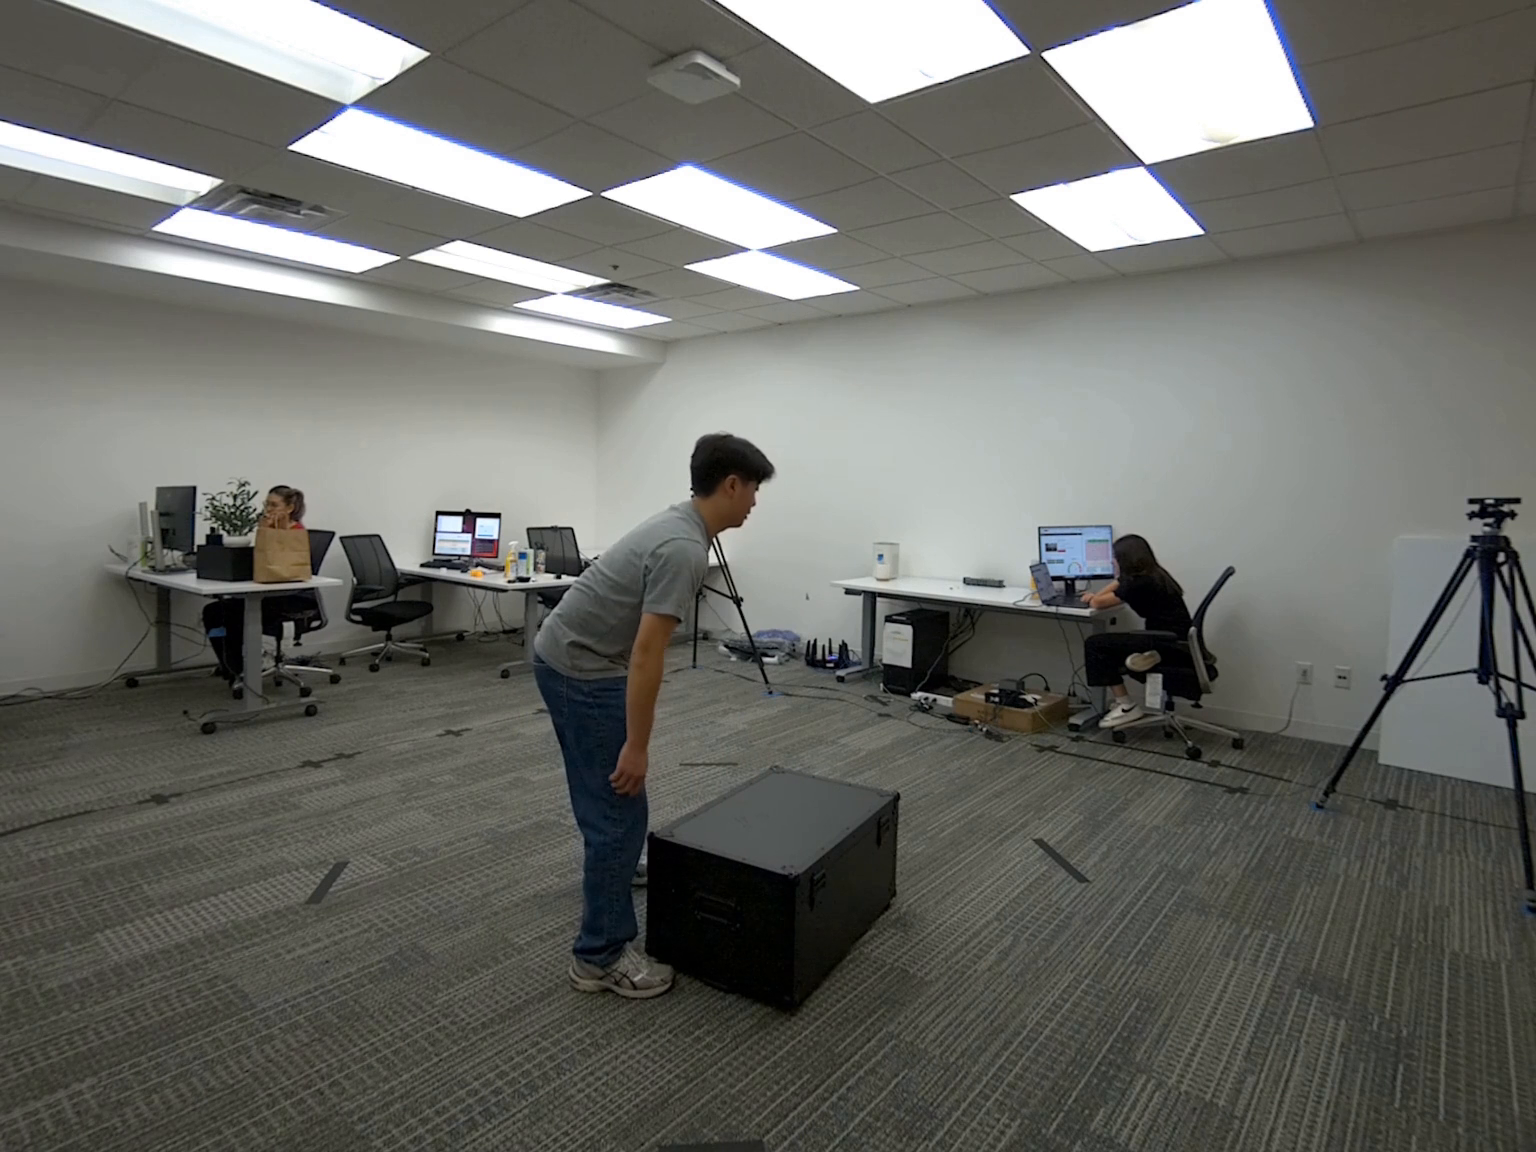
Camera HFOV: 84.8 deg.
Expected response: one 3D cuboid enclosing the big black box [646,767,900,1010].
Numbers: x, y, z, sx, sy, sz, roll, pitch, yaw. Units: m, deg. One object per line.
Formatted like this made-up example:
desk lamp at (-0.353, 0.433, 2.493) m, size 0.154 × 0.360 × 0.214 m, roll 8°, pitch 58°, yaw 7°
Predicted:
big black box at (0.052, 0.923, 2.698) m, size 0.536 × 0.395 × 0.840 m, roll 3°, pitch 6°, yaw 29°
